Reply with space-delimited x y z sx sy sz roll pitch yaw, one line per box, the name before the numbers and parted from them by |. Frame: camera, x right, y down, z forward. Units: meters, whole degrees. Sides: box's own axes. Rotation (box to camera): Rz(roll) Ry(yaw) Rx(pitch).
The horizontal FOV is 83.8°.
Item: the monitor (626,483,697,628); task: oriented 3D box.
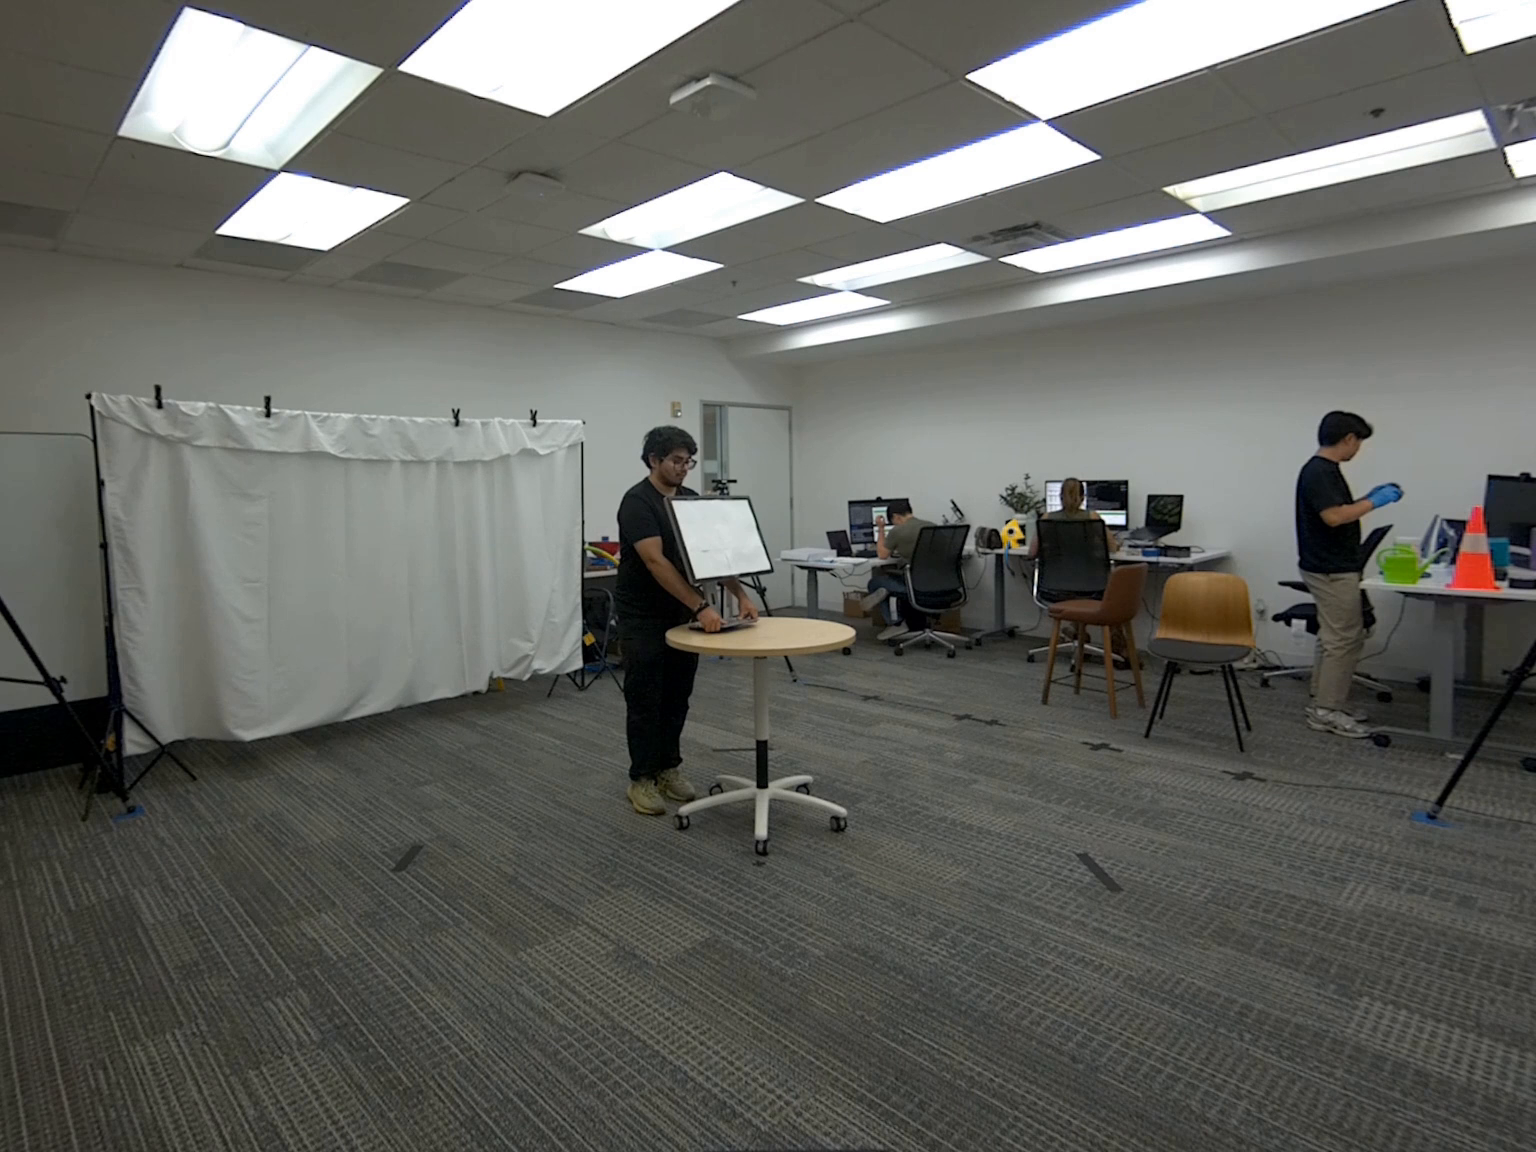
monitor | -0.232 -0.056 3.585 0.214 0.558 0.551 -17 -7 37
